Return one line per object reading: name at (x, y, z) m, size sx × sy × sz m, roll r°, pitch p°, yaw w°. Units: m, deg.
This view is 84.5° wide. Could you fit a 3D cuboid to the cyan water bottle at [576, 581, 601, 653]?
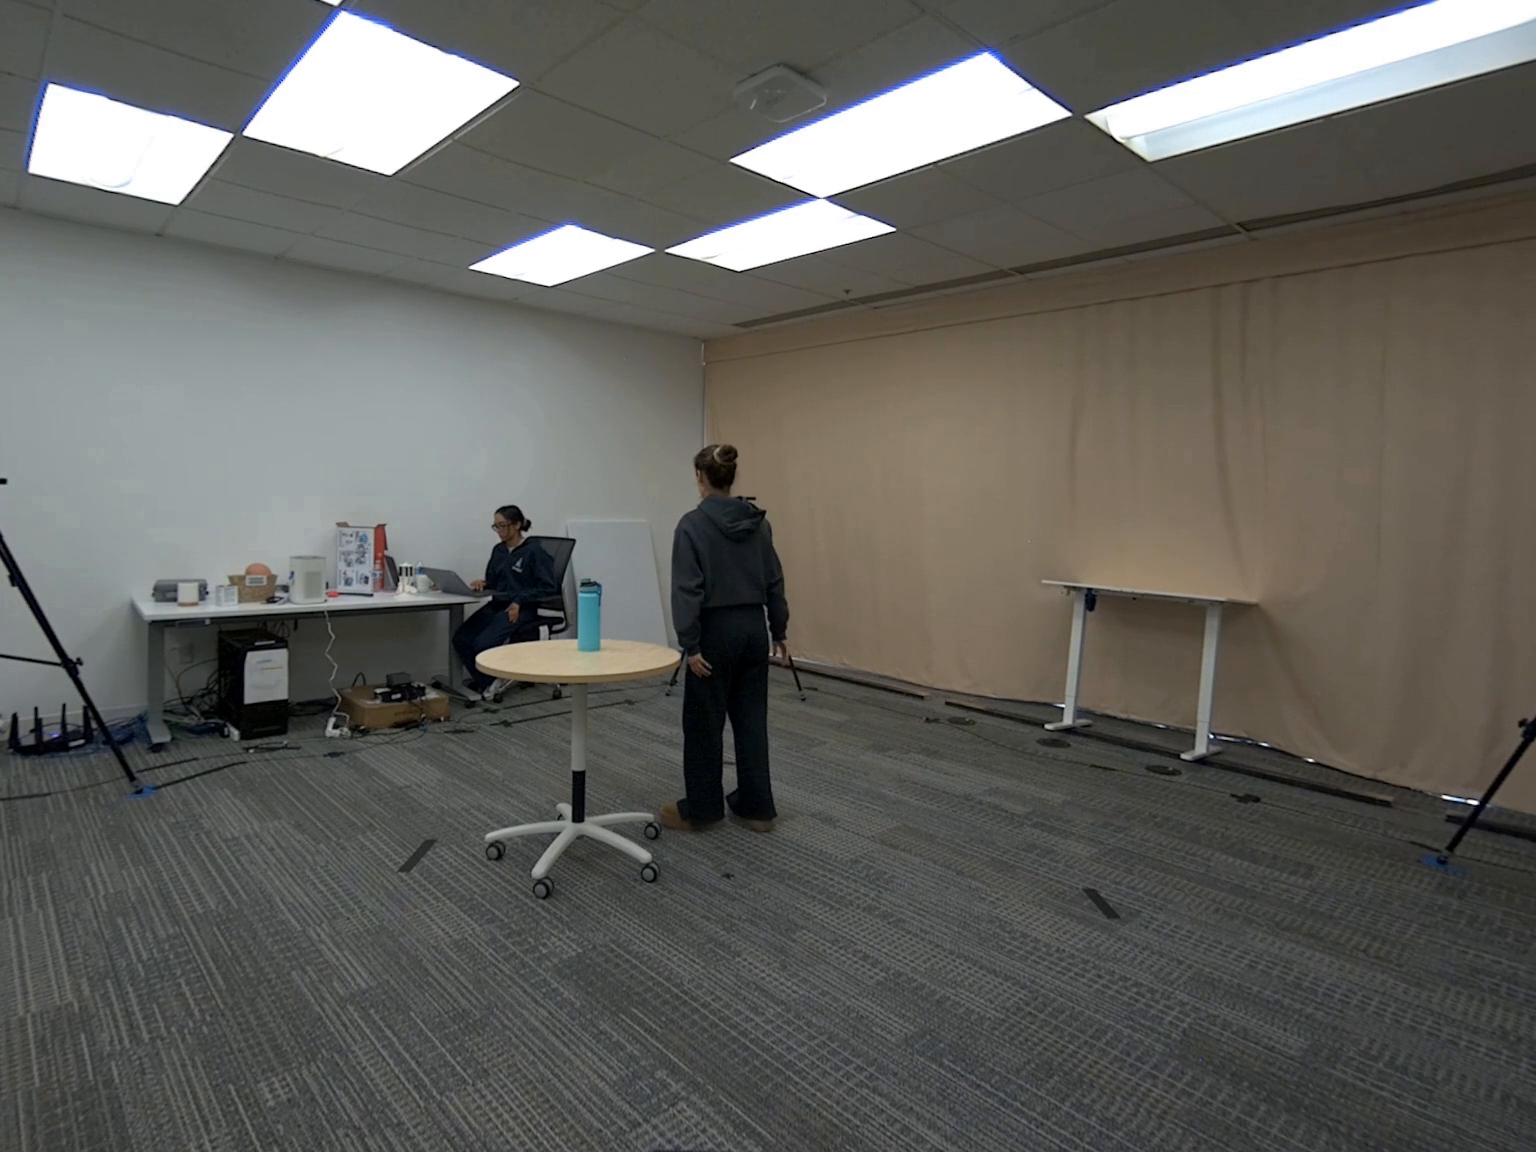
cyan water bottle at (-0.720, 0.153, 3.329) m, size 0.092 × 0.283 × 0.092 m, roll 3°, pitch 1°, yaw -1°
